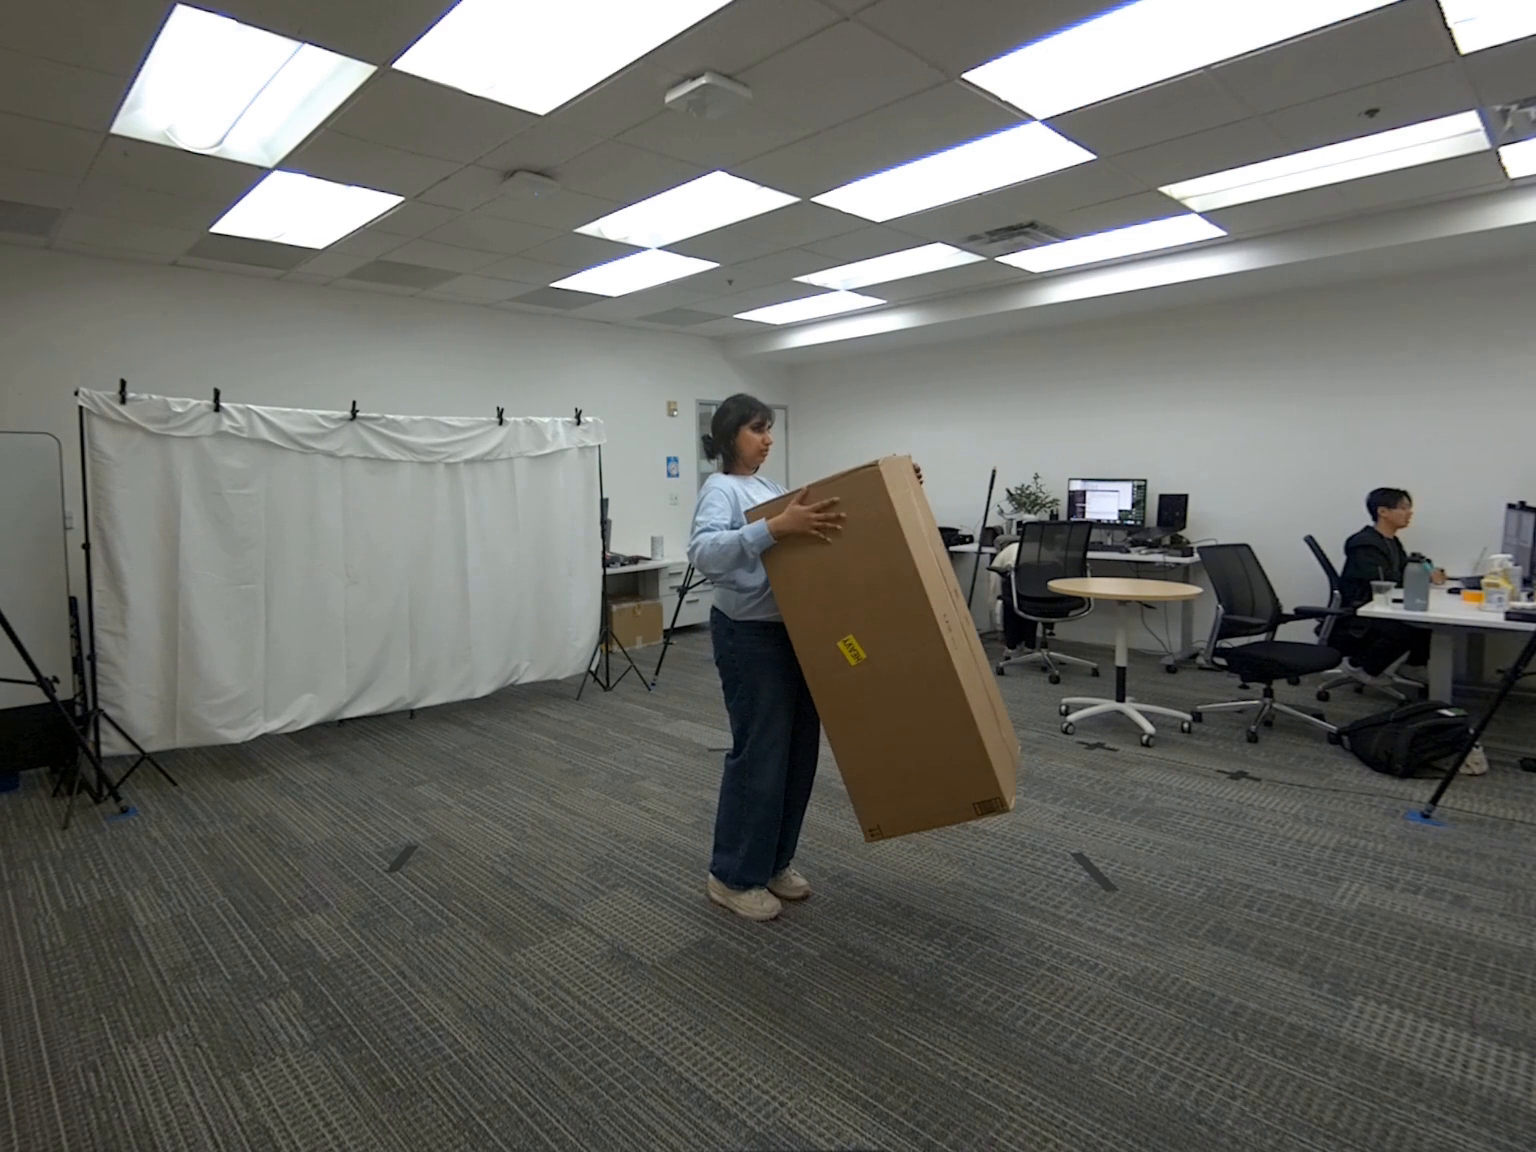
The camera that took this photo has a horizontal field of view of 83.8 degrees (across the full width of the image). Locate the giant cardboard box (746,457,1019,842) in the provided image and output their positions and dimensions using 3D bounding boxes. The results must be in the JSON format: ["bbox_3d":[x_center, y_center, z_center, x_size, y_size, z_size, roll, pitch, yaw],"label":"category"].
[{"bbox_3d":[0.381,0.187,2.650,0.452,1.030,0.575,-21,-2,22],"label":"giant cardboard box"}]
